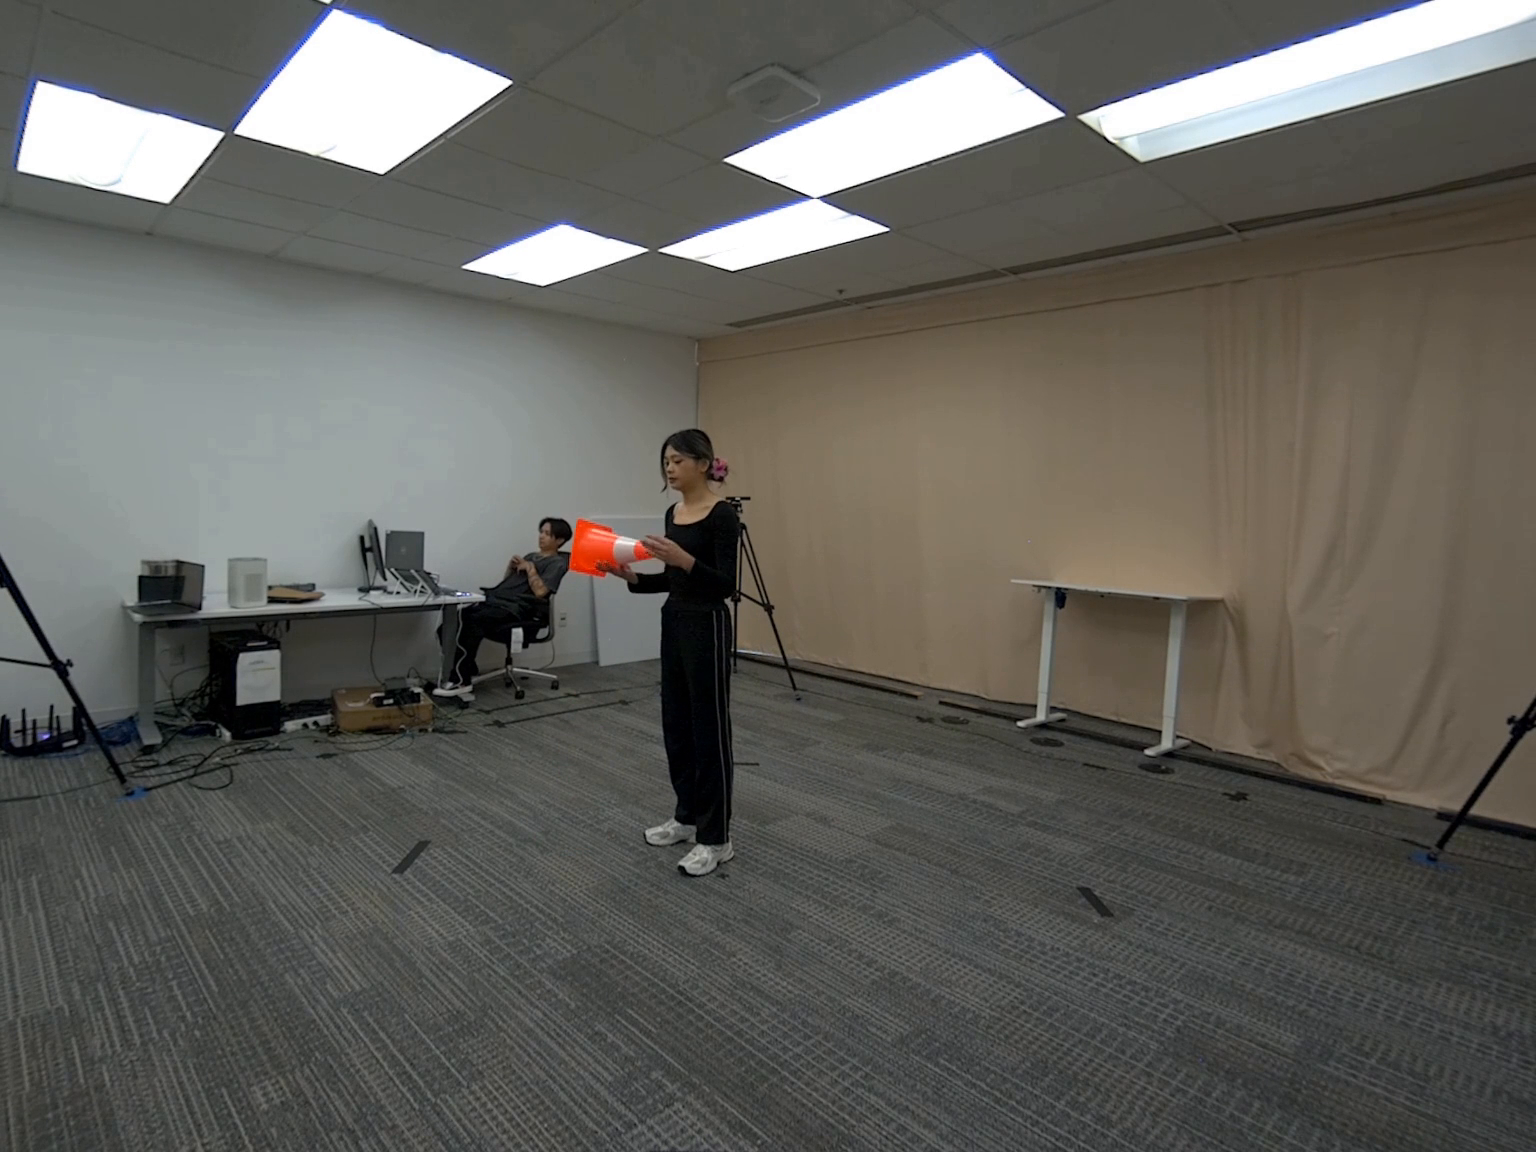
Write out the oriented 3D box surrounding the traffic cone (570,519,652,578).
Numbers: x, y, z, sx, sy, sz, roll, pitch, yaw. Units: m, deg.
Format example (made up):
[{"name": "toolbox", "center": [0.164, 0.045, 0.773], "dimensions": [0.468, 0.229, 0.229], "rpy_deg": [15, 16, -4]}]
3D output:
[{"name": "traffic cone", "center": [-0.514, -0.096, 3.100], "dimensions": [0.392, 0.206, 0.198], "rpy_deg": [3, -8, 35]}]
